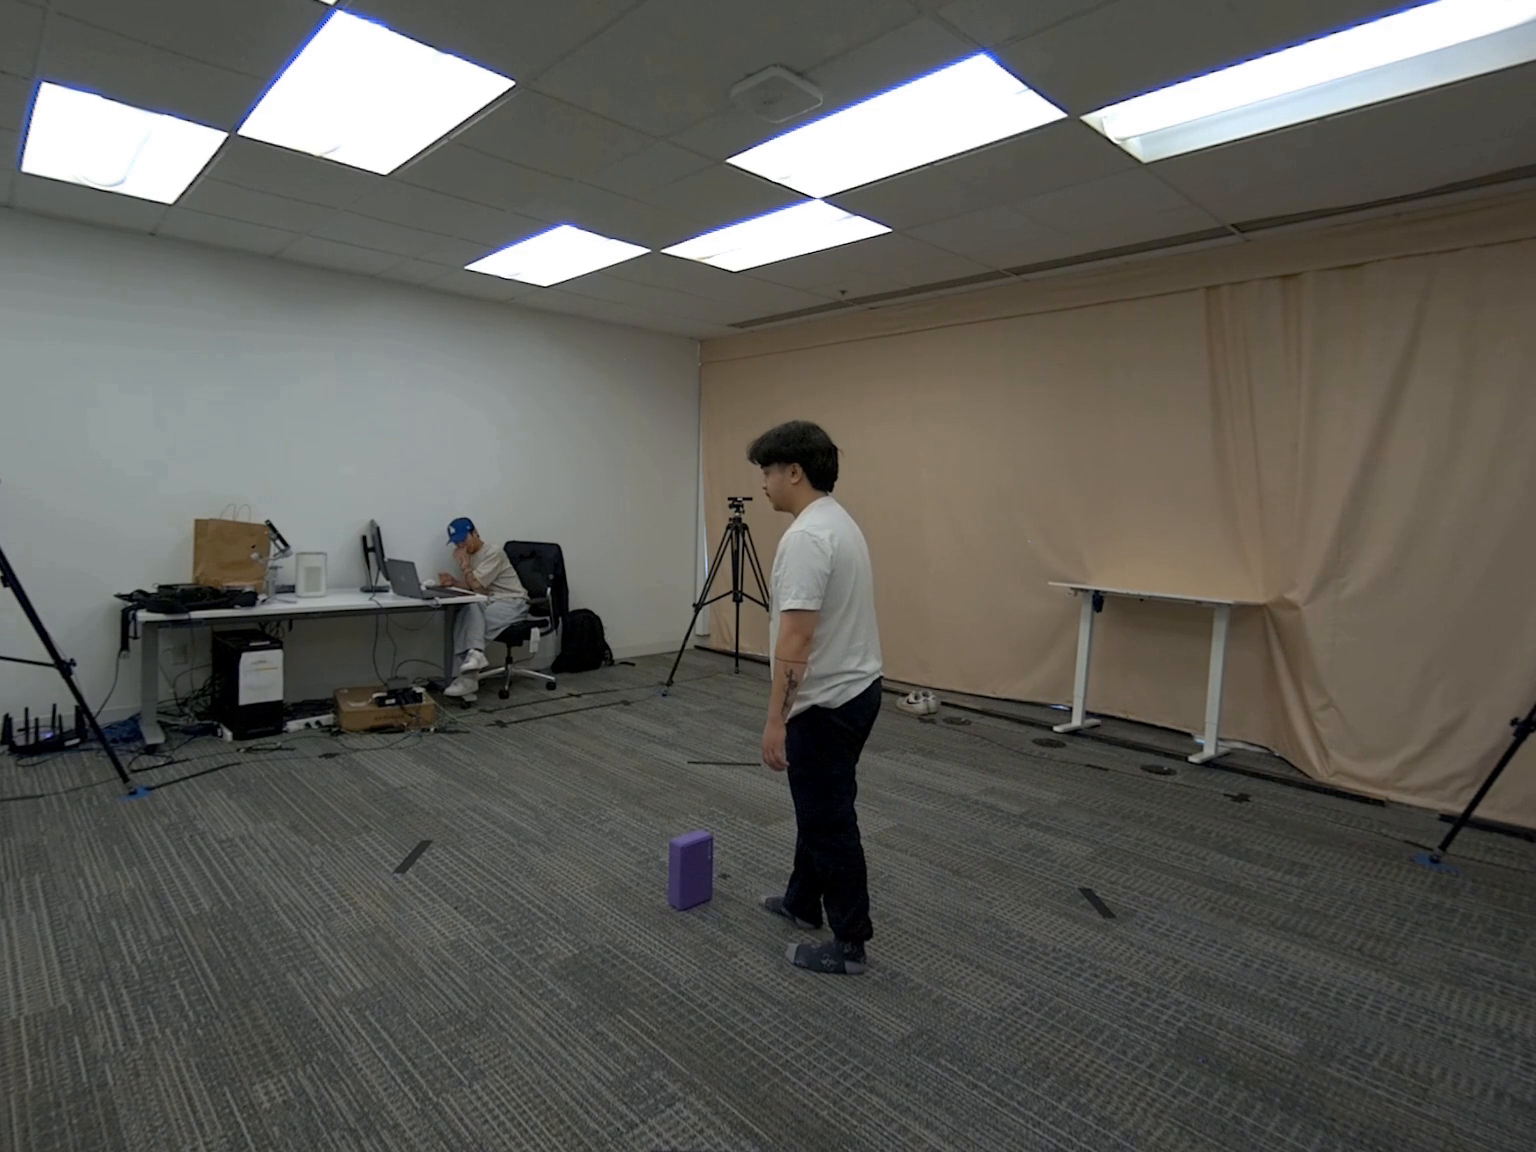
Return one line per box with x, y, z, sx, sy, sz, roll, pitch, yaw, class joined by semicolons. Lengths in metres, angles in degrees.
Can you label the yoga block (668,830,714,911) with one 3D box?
-0.272;1.009;2.889;0.145;0.228;0.078;-3;6;-44;yoga block
